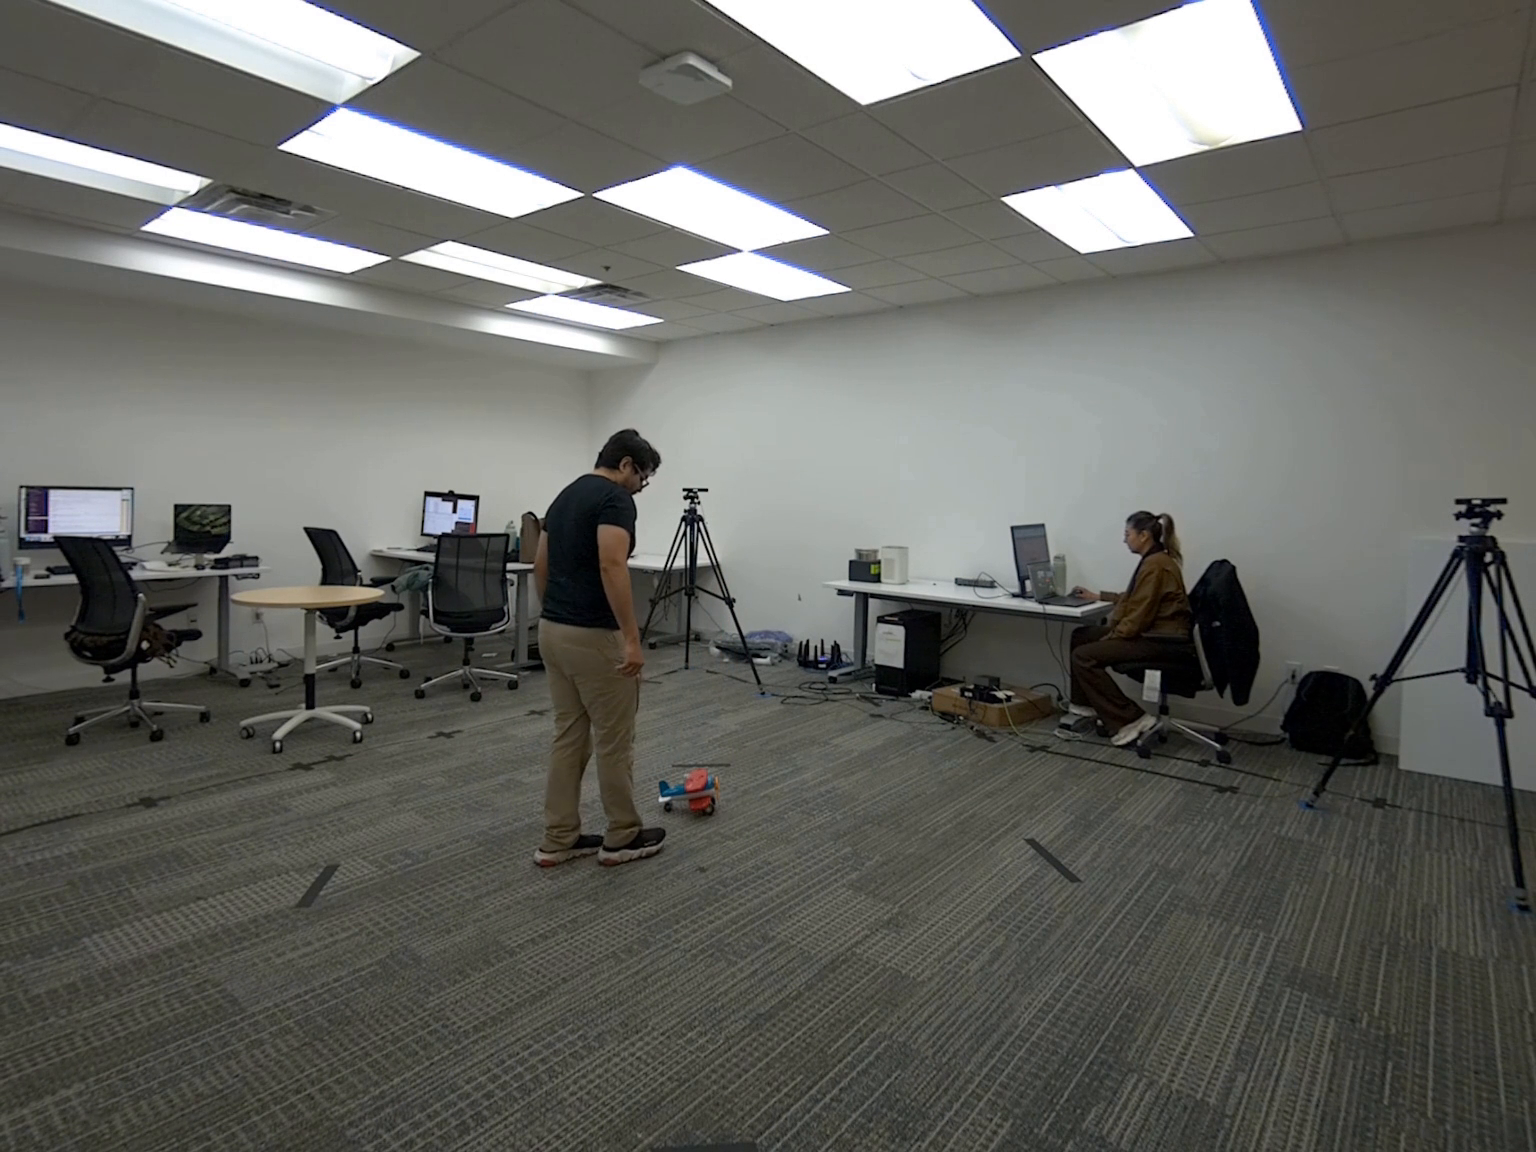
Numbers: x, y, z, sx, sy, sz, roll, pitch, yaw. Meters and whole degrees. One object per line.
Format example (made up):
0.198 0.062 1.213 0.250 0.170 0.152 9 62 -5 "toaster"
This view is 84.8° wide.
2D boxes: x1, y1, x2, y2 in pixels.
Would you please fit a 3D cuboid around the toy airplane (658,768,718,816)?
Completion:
-0.346 0.939 3.657 0.252 0.156 0.258 1 4 -28 "toy airplane"
